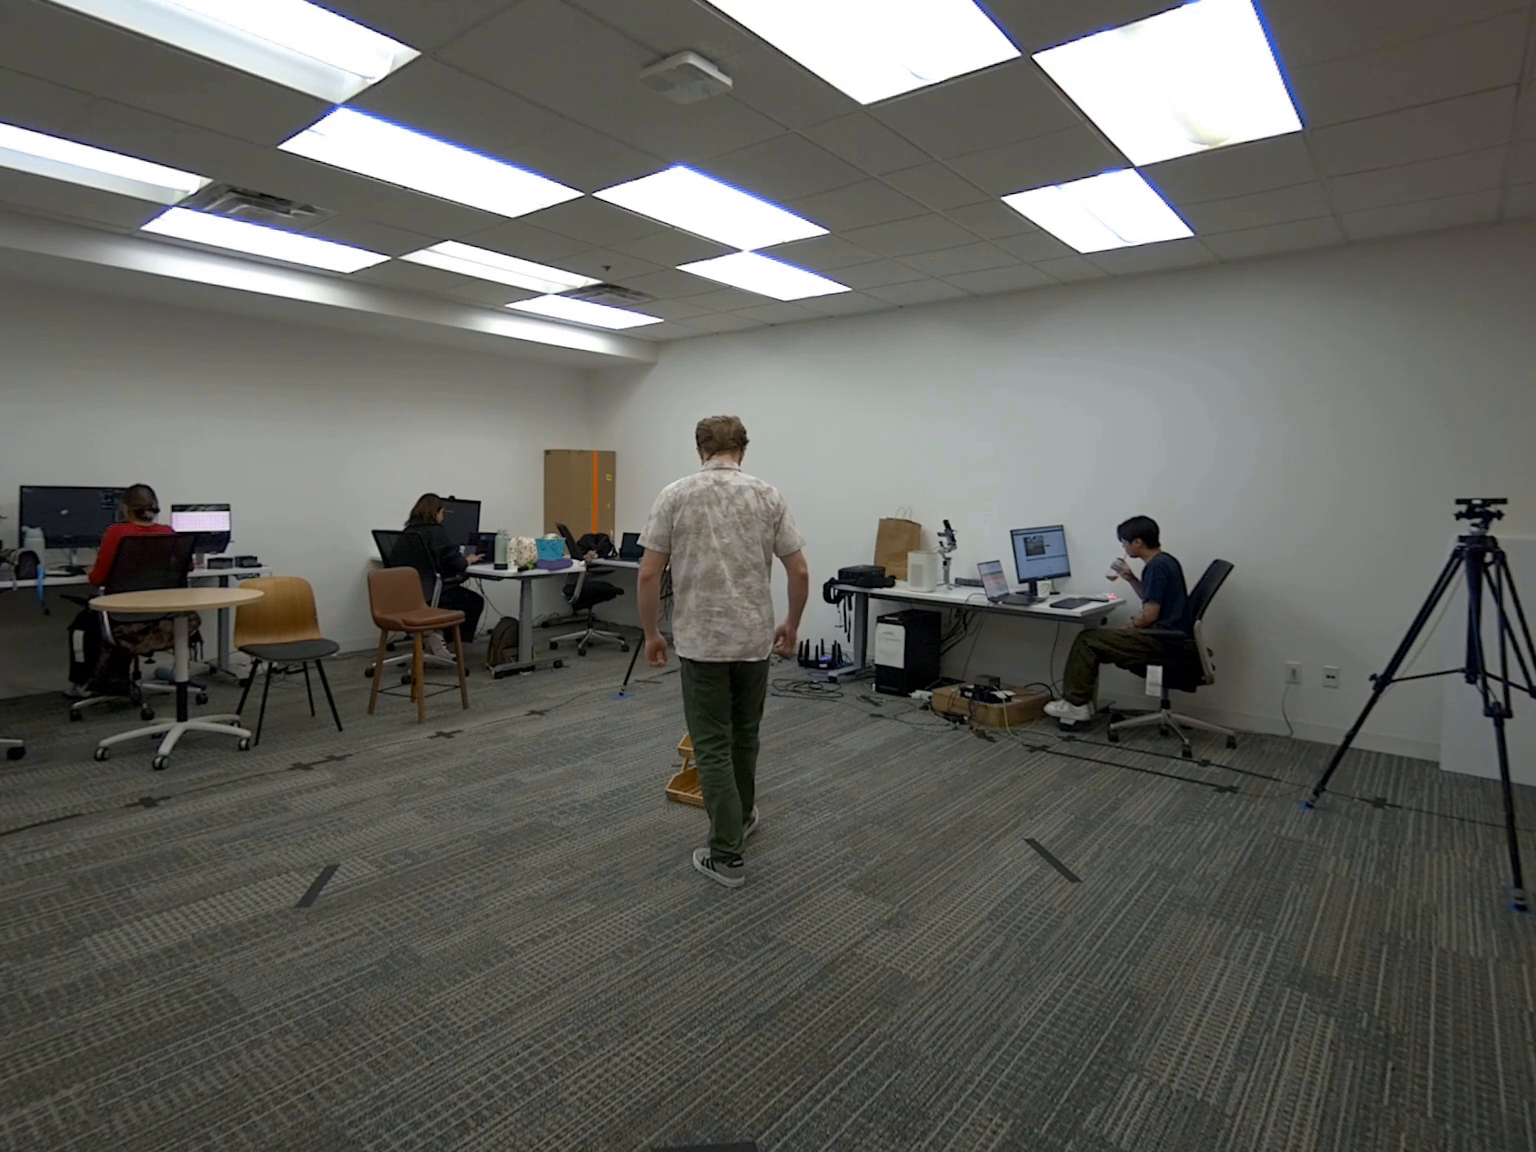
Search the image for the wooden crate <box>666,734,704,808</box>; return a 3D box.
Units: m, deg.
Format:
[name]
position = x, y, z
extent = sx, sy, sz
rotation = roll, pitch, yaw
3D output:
[wooden crate]
position = -0.263, 0.859, 3.836
extent = 0.334, 0.273, 0.294
rotation = 3, 4, 29
